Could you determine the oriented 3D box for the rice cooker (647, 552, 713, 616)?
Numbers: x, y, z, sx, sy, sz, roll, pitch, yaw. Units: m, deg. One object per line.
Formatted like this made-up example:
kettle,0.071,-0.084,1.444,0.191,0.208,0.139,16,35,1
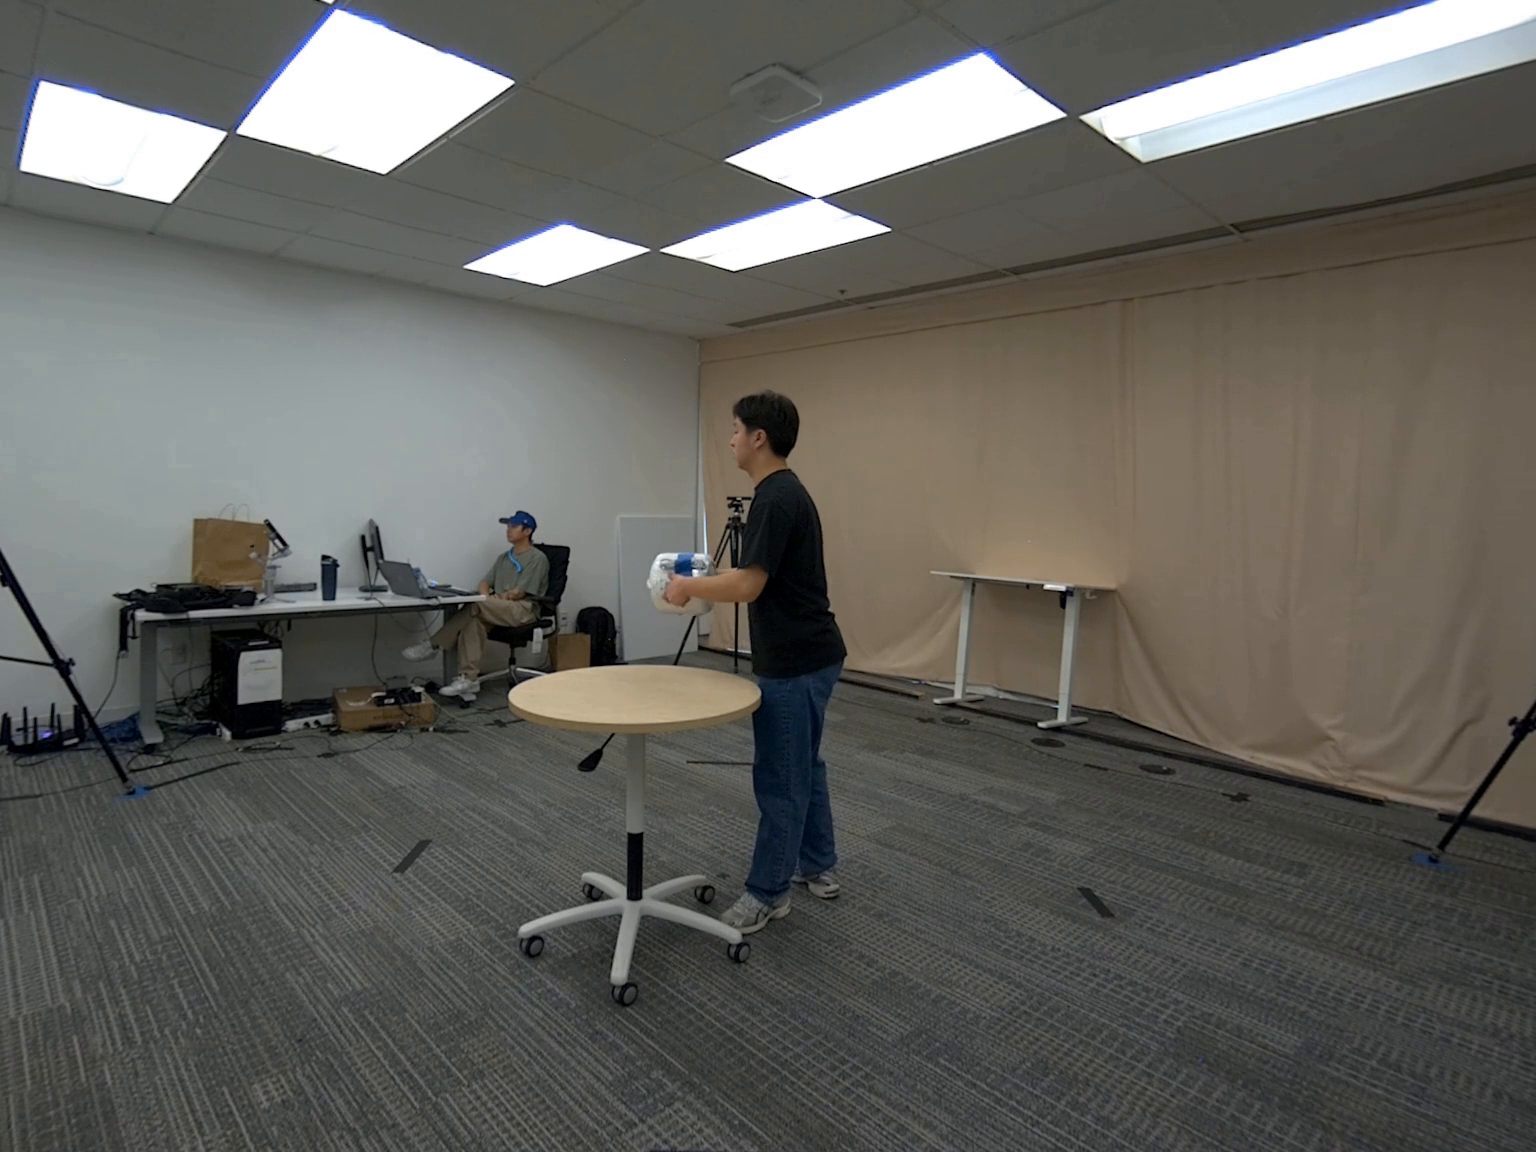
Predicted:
rice cooker,-0.305,0.031,2.937,0.235,0.216,0.220,2,9,10
